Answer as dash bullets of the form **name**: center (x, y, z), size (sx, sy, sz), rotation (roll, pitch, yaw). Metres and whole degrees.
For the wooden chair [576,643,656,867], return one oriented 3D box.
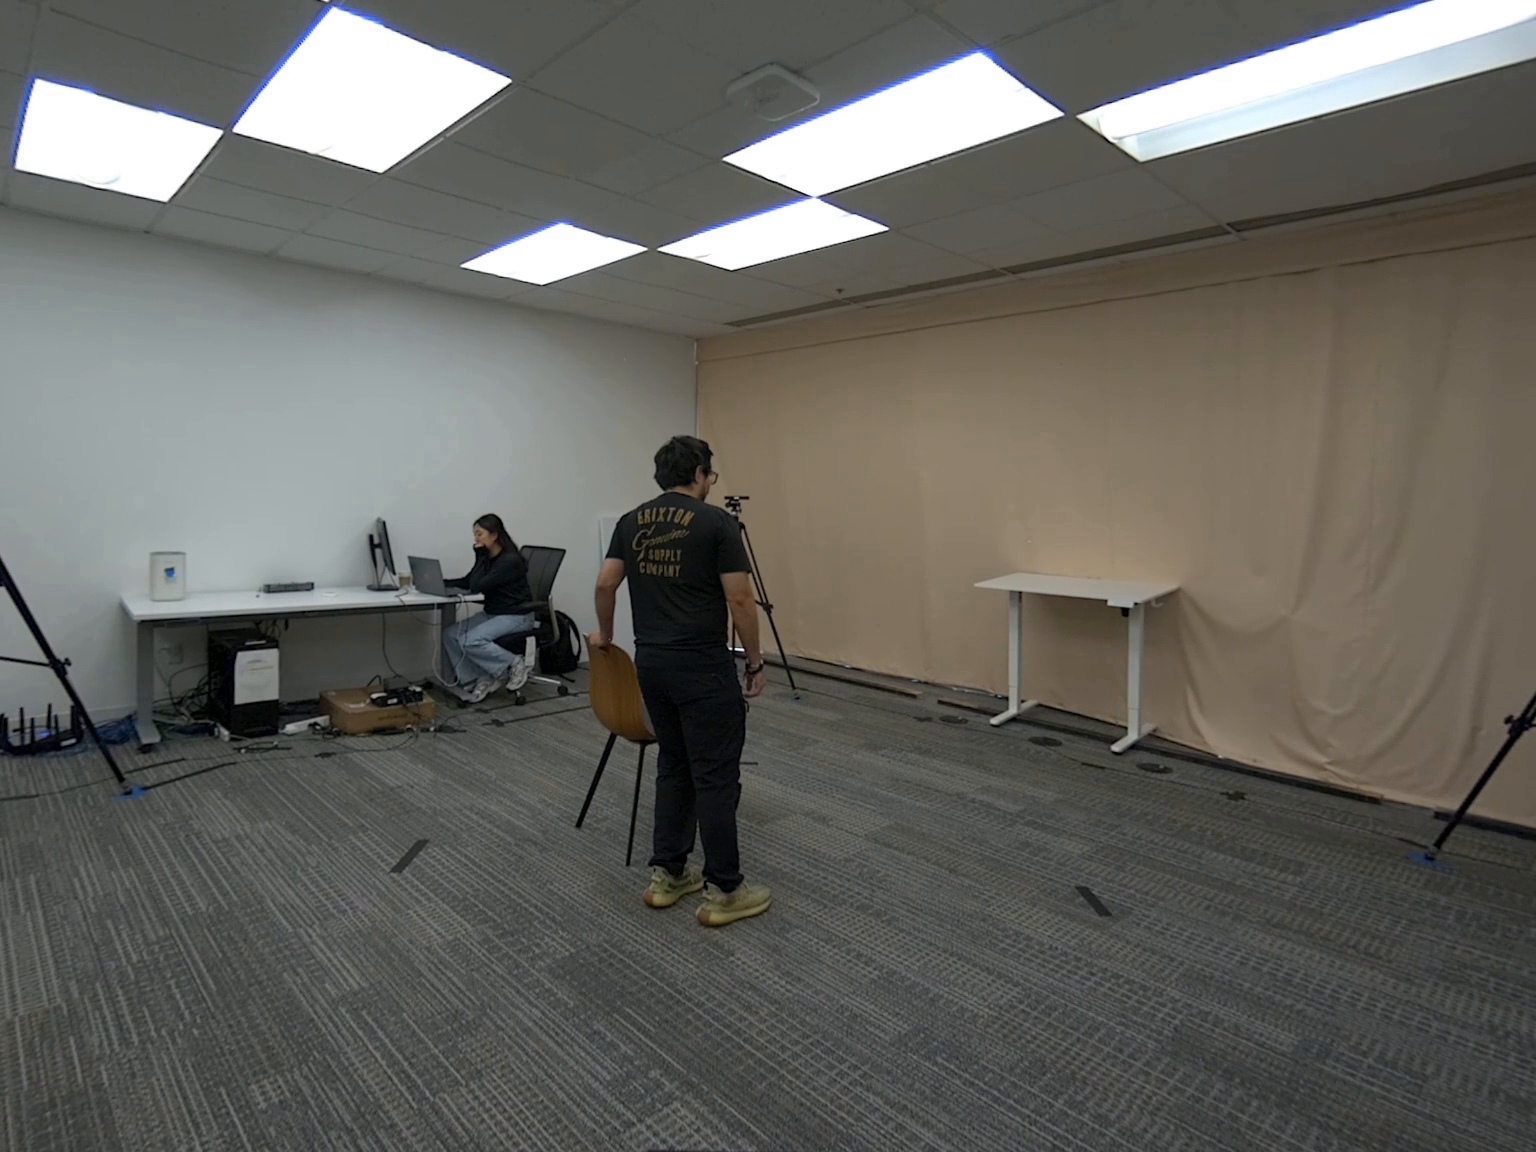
- **wooden chair**: center (-0.479, 0.640, 3.449), size (0.512, 0.873, 0.490), rotation (-6, 8, -37)
